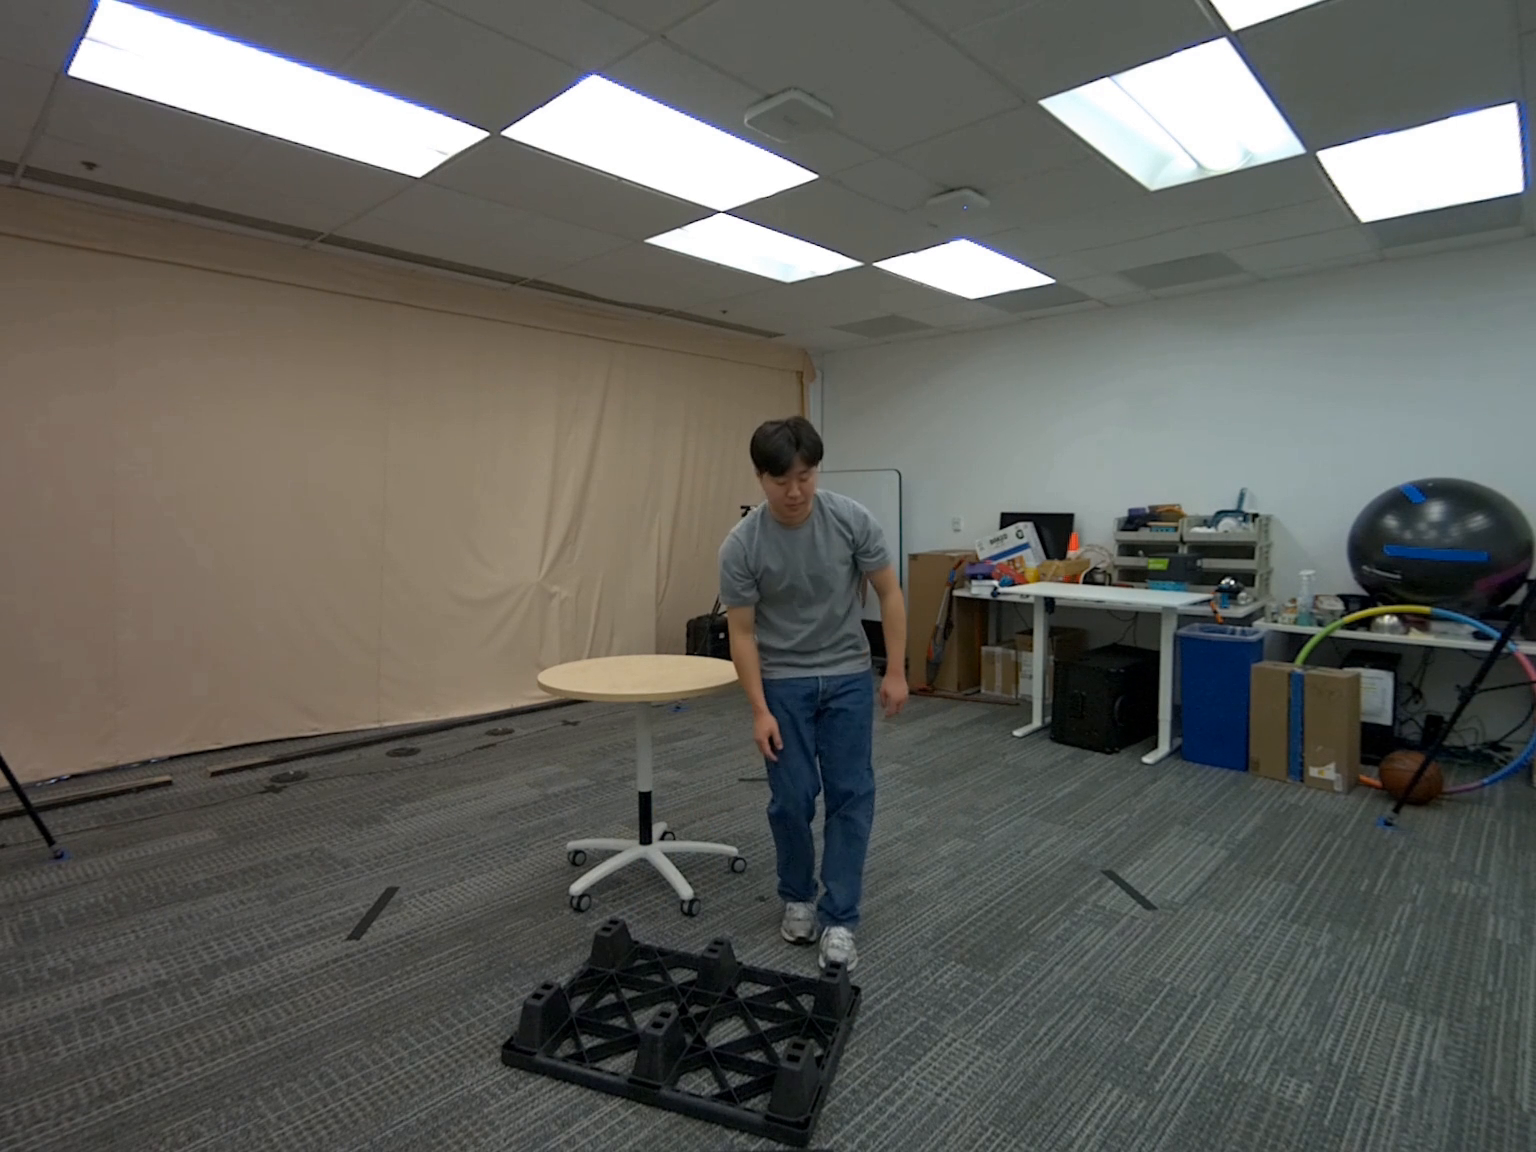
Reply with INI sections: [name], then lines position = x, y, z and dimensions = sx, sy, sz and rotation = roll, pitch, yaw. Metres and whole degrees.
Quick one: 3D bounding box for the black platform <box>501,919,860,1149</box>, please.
[black platform]
position = -0.197, 1.145, 2.230
dimensions = 0.823, 0.143, 0.594
rotation = 2, 5, 20
